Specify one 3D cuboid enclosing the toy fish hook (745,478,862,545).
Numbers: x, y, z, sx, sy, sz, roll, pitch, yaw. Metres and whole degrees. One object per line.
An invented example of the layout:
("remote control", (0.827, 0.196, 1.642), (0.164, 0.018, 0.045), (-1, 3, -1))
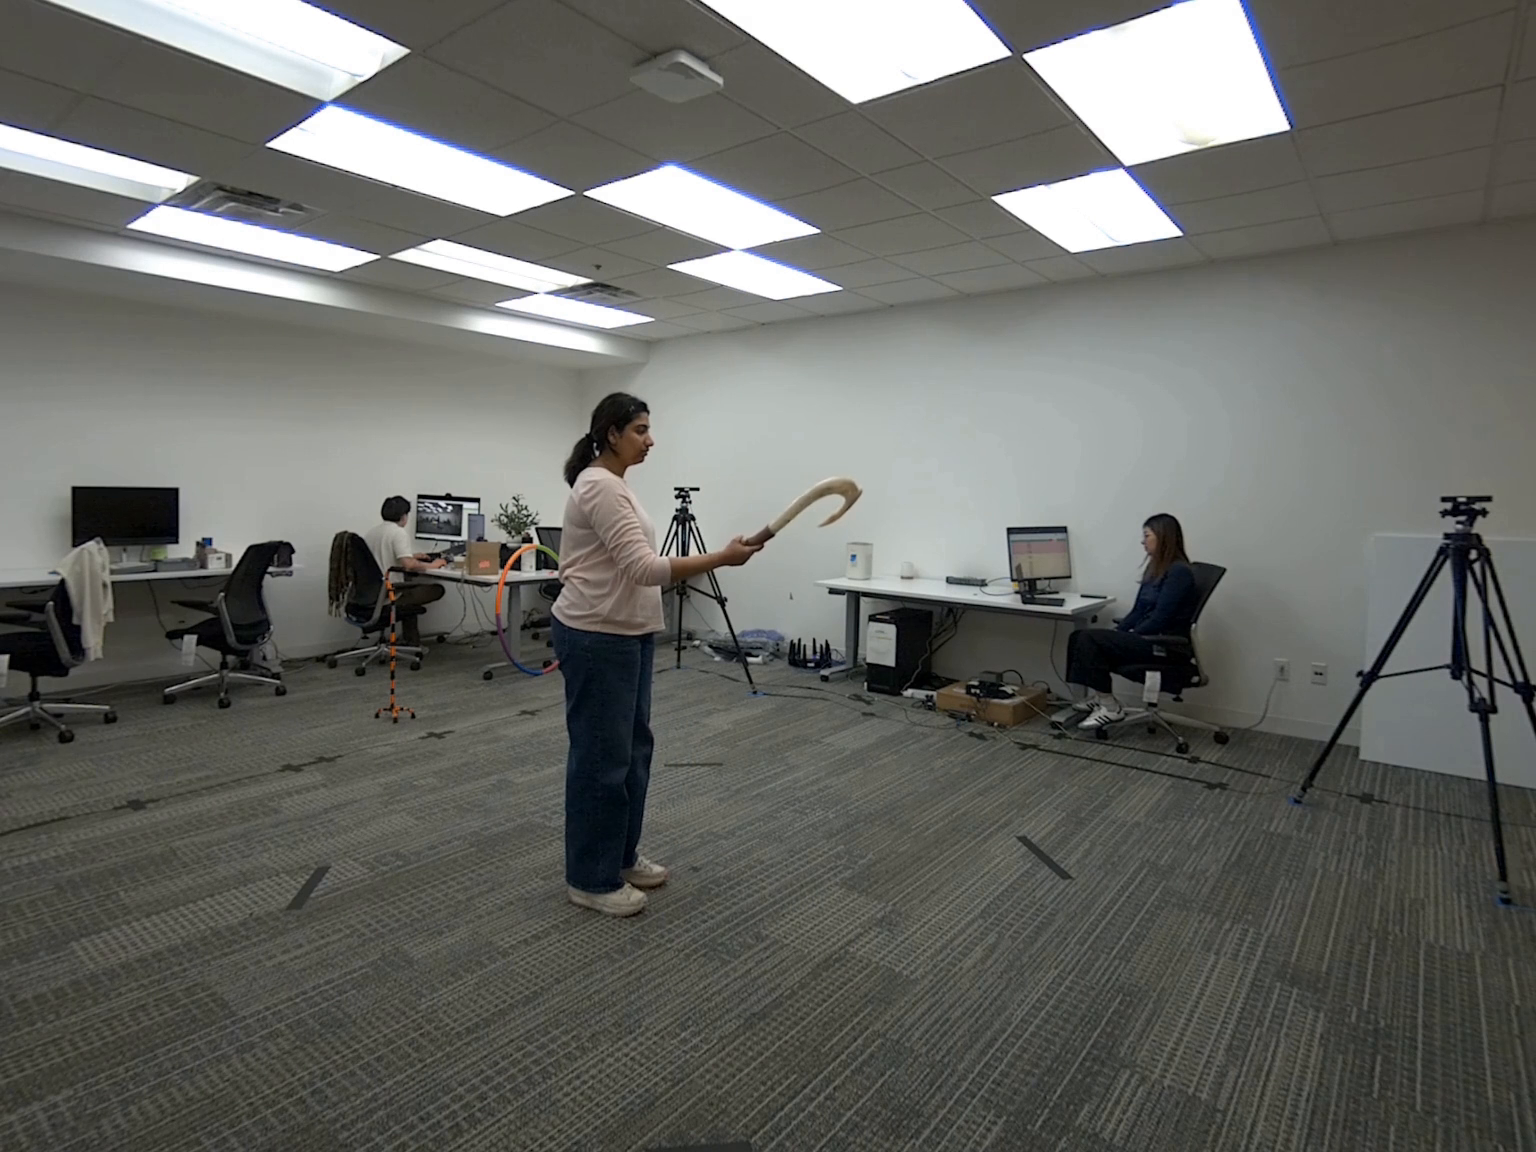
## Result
("toy fish hook", (0.056, -0.162, 2.769), (0.510, 0.050, 0.215), (-33, -39, 19))
